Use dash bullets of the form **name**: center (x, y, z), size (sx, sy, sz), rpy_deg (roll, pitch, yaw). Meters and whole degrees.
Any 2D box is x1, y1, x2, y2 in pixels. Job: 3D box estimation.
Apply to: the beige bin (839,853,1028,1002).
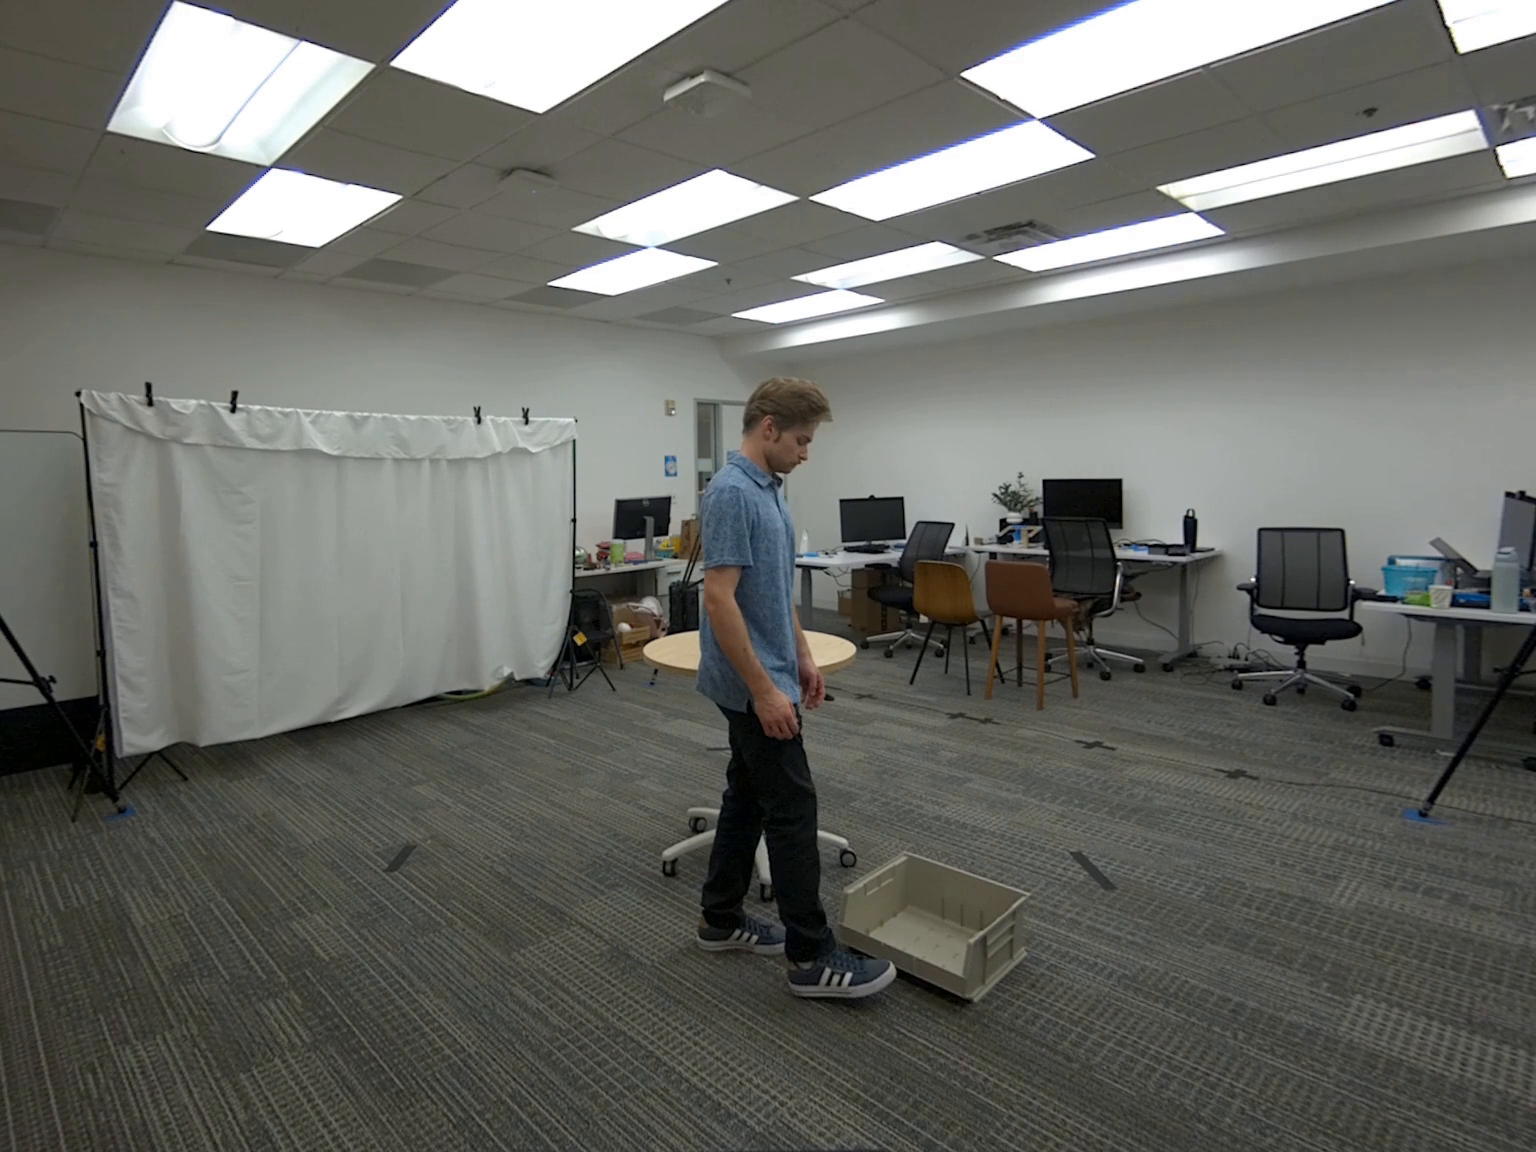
- **beige bin**: center (0.486, 1.017, 2.493), size (0.435, 0.188, 0.367), rpy_deg (4, 7, 42)
